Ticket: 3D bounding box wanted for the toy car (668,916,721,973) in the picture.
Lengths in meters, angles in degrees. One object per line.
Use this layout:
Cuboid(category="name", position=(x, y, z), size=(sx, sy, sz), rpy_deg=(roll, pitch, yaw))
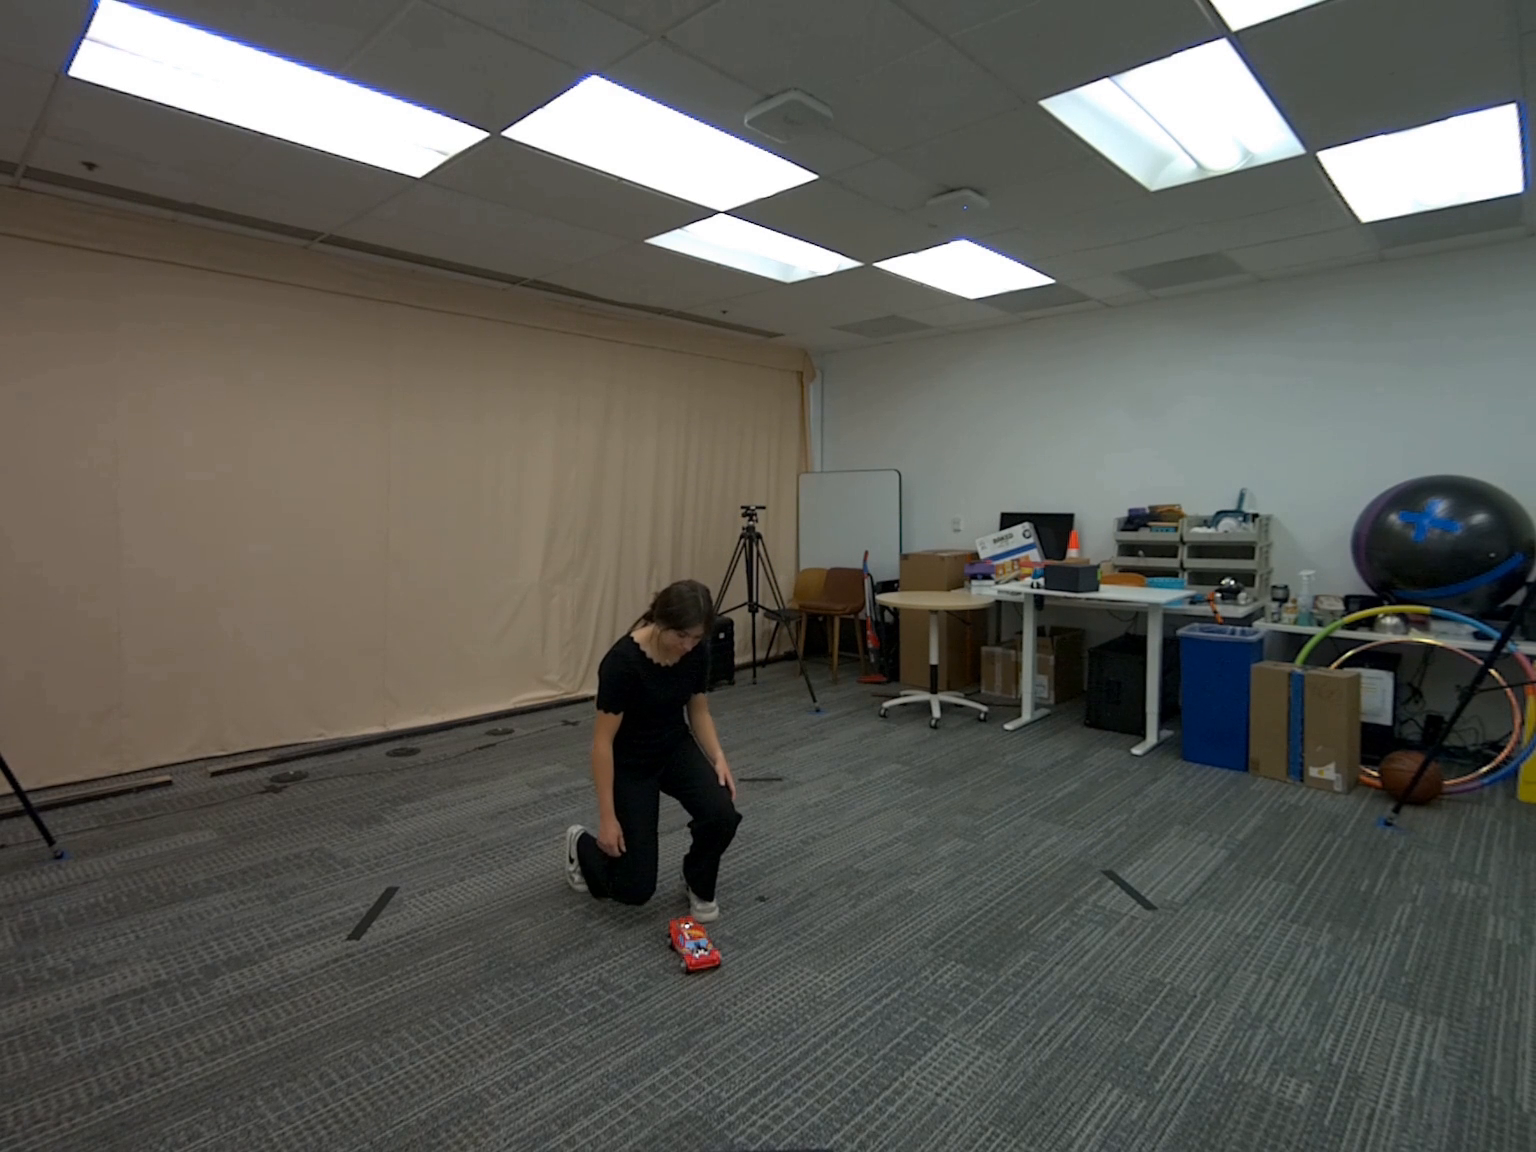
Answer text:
Cuboid(category="toy car", position=(-0.237, 1.137, 2.619), size=(0.128, 0.082, 0.262), rpy_deg=(-4, 16, -20))
